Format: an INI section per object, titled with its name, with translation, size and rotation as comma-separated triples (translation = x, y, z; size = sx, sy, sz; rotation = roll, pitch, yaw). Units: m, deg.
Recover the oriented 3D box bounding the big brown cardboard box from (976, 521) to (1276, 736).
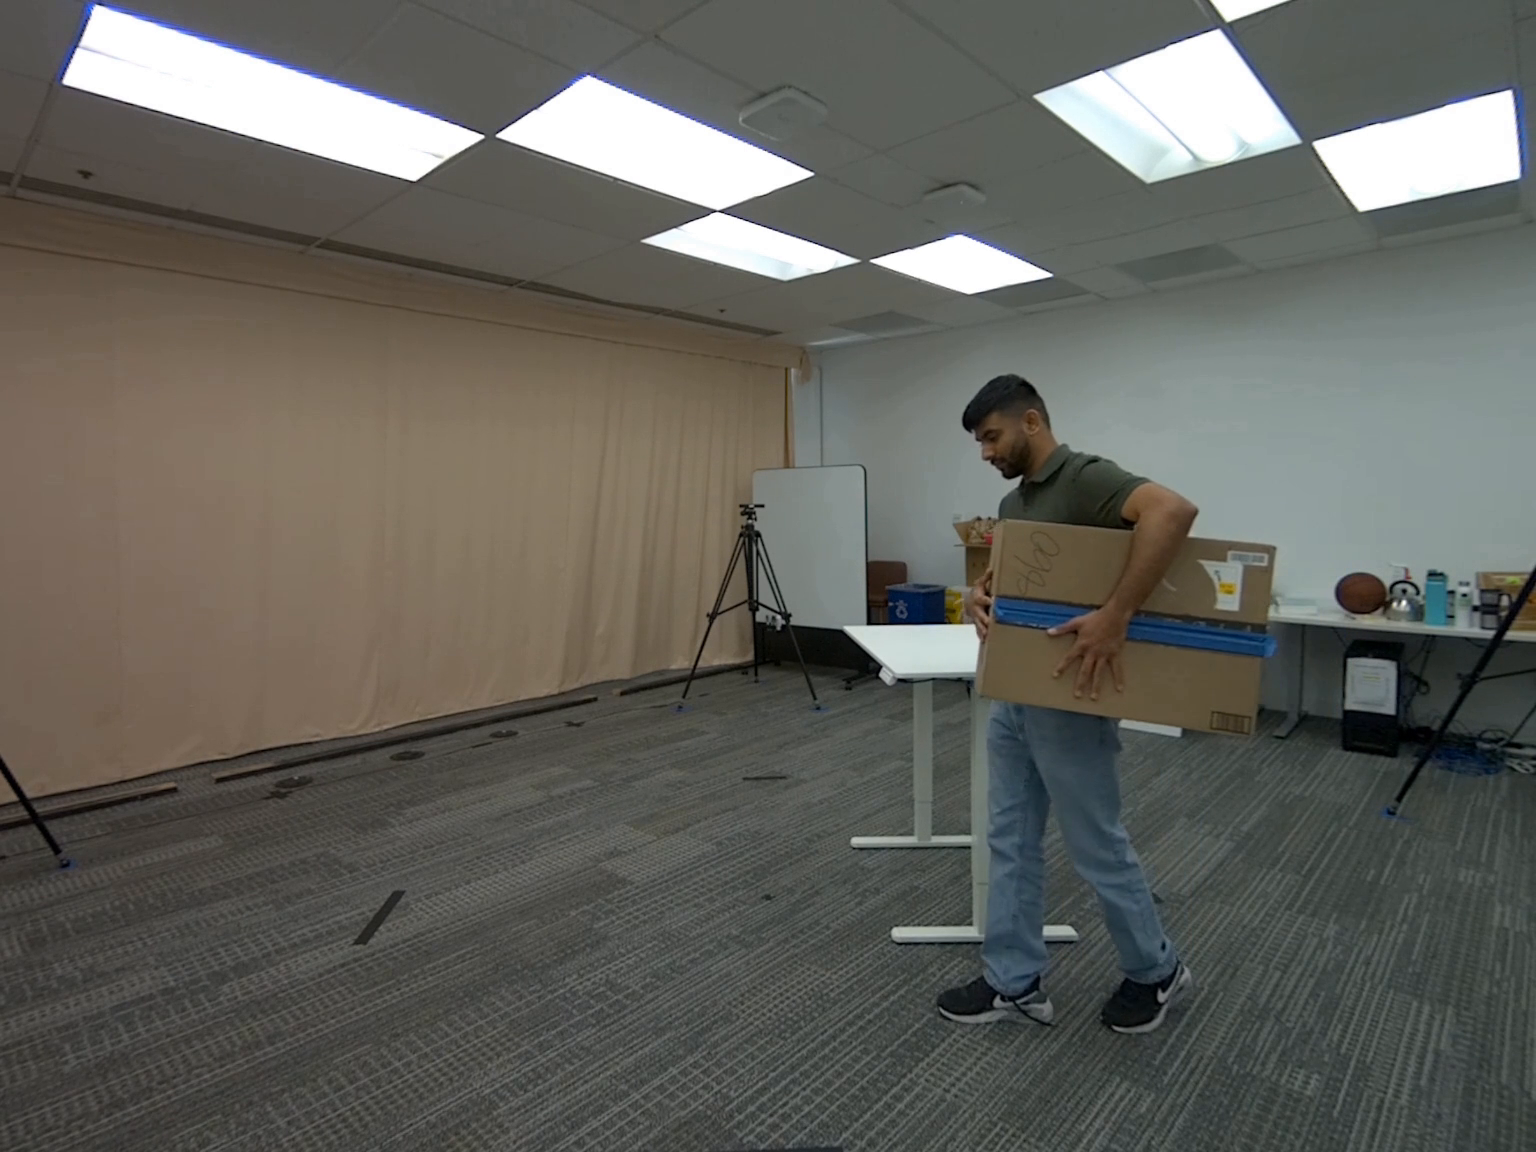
[big brown cardboard box]
translation = 0.826, 0.101, 1.967
size = 0.598, 0.418, 0.229
rotation = 4, -1, 13
